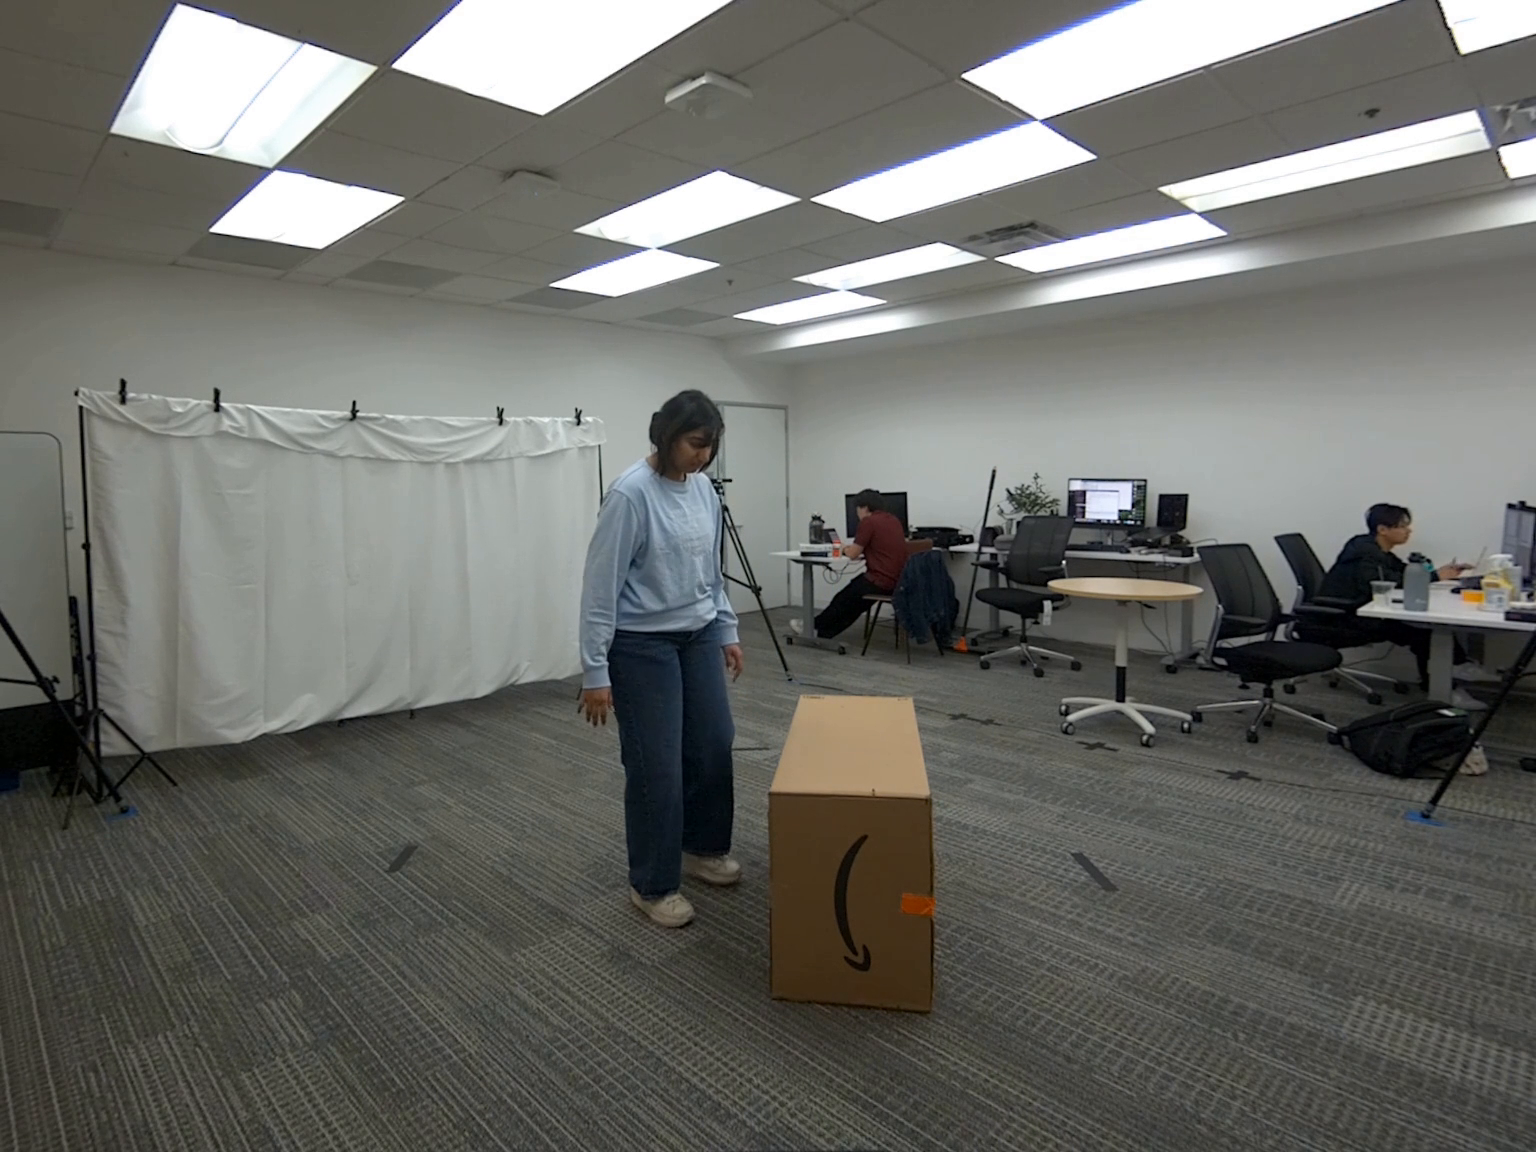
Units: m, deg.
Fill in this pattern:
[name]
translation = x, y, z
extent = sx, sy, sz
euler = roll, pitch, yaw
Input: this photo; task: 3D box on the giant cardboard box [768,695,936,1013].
[giant cardboard box]
translation = 0.280, 0.790, 2.735
extent = 0.430, 0.575, 1.021
euler = 0, 6, 7
